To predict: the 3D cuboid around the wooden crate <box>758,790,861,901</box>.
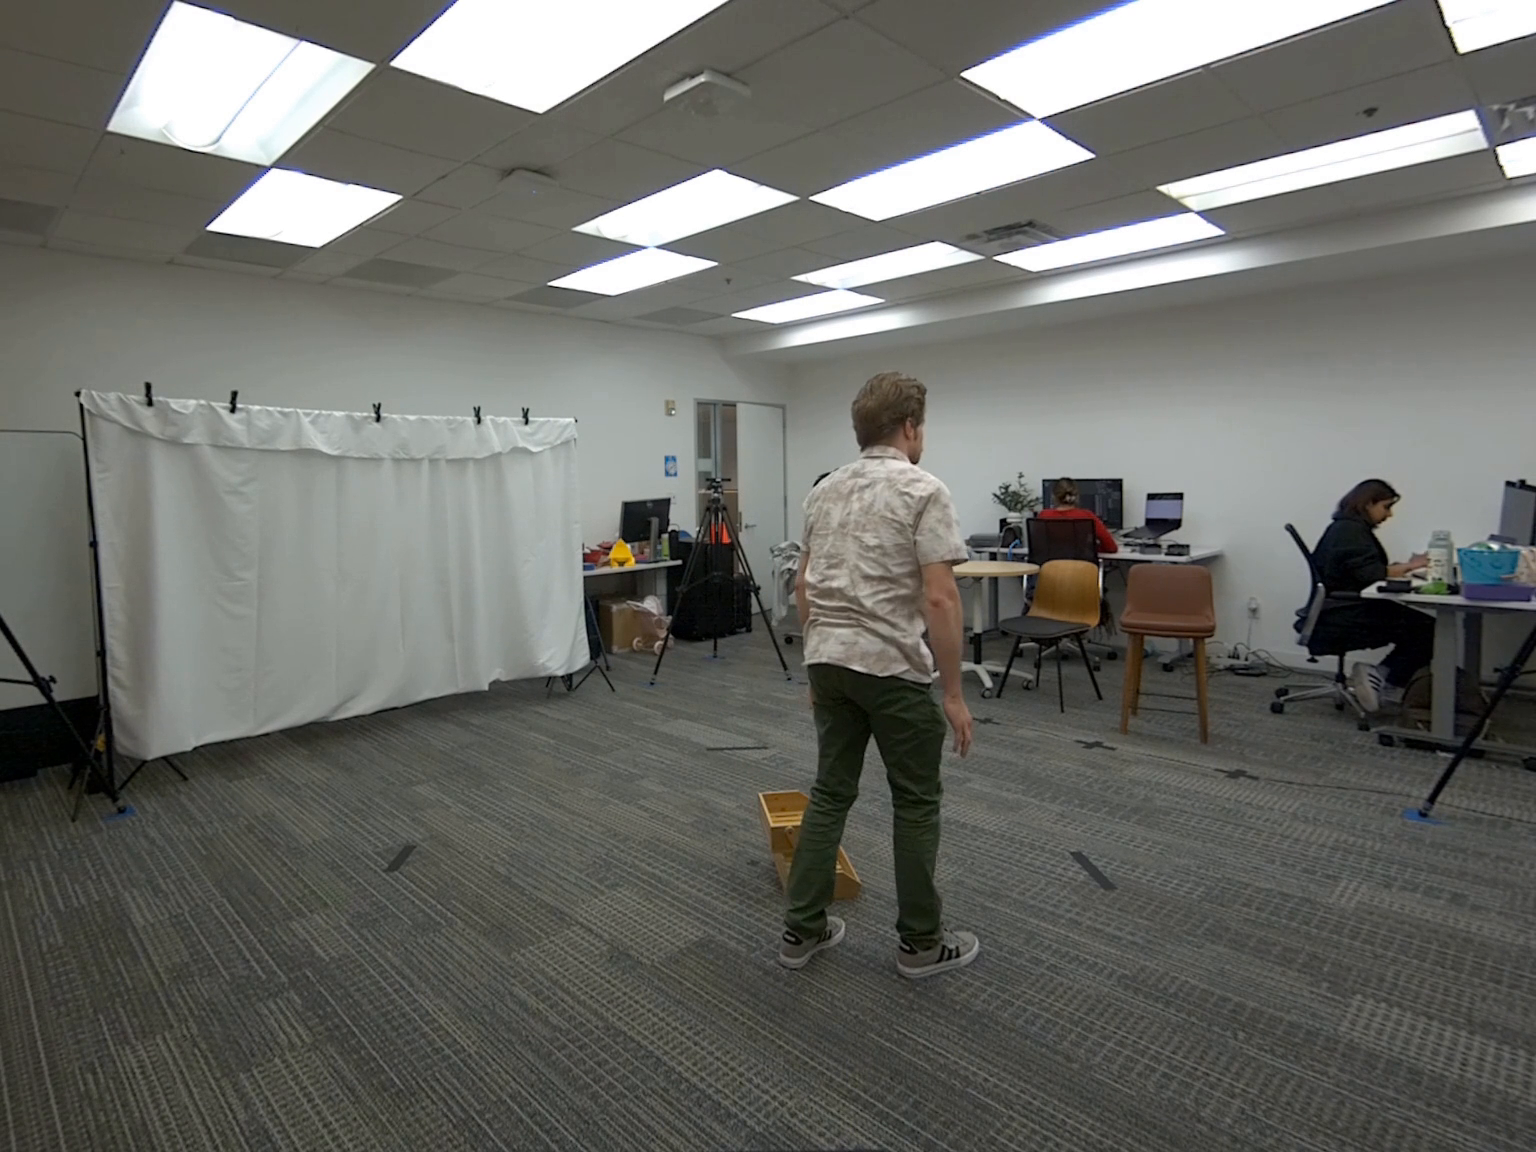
[{"bbox_3d":[0.150,0.922,2.954,0.300,0.272,0.328,-2,5,-7],"label":"wooden crate"}]
